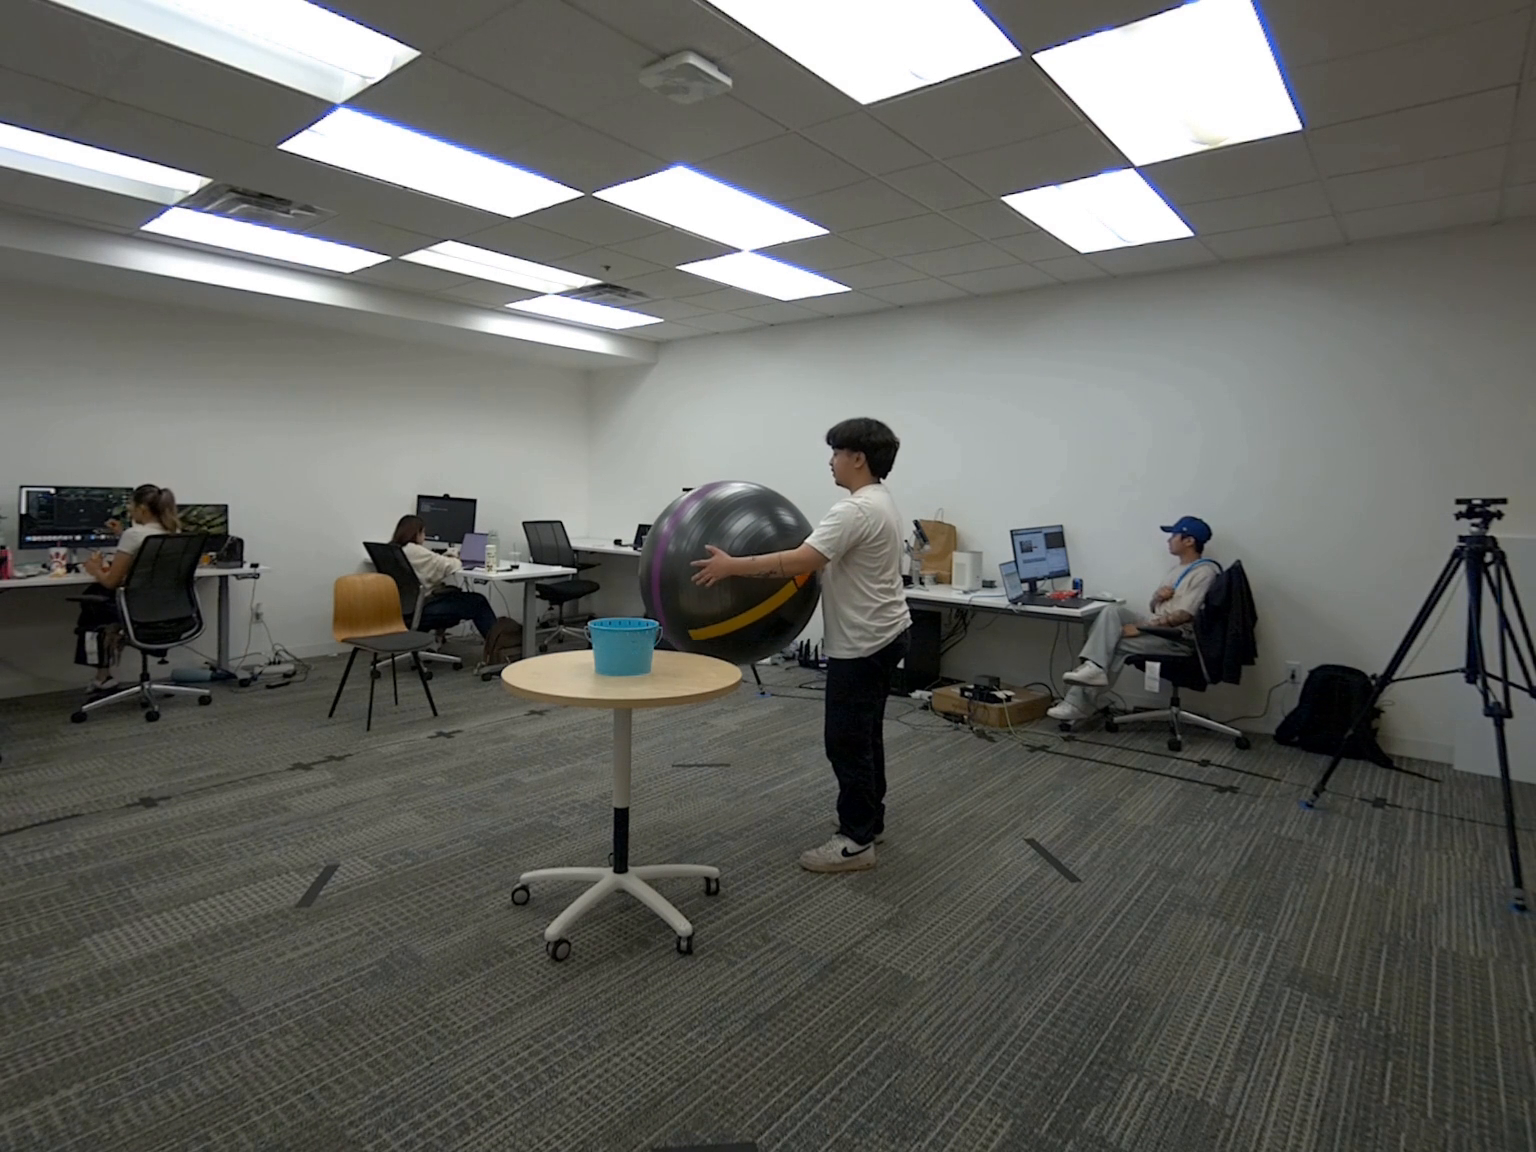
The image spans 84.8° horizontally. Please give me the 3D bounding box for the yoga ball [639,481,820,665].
[{"bbox_3d":[-0.167,-0.014,3.513,0.757,0.756,0.761,1,4,-2],"label":"yoga ball"}]
